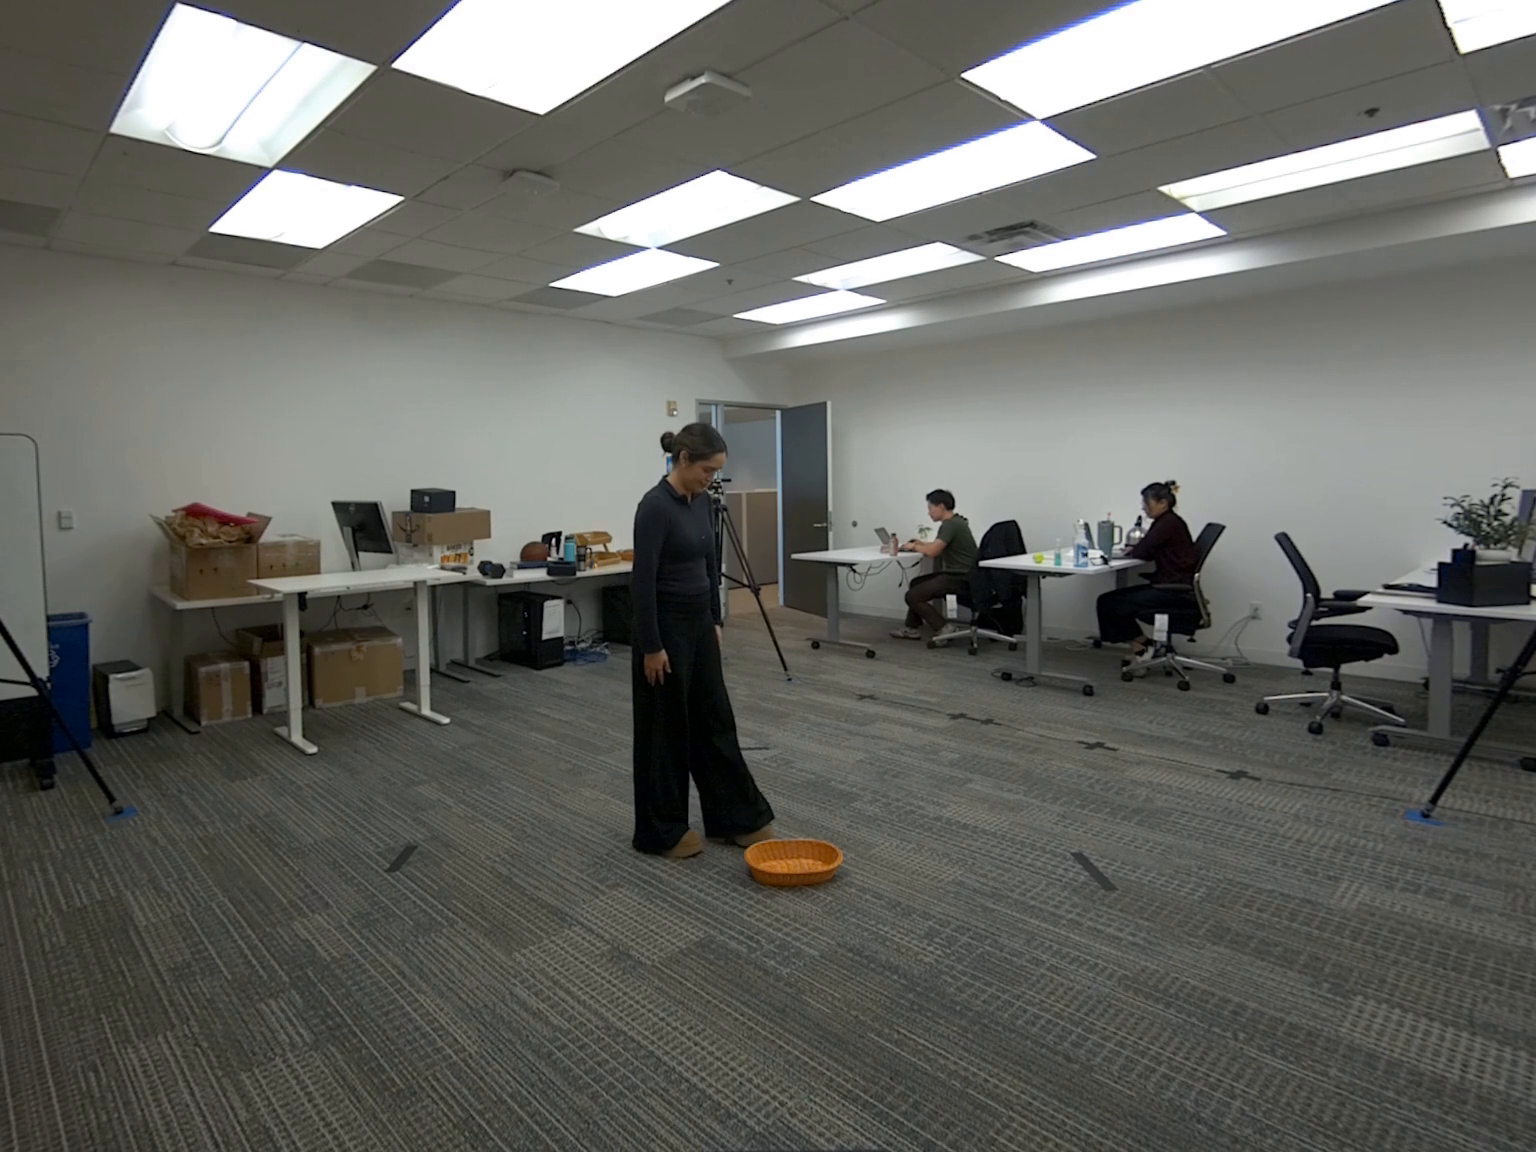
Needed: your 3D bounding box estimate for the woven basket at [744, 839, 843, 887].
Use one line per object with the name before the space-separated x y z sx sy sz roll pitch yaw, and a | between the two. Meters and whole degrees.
woven basket | 0.092 1.012 3.007 0.349 0.073 0.255 -2 8 -6
